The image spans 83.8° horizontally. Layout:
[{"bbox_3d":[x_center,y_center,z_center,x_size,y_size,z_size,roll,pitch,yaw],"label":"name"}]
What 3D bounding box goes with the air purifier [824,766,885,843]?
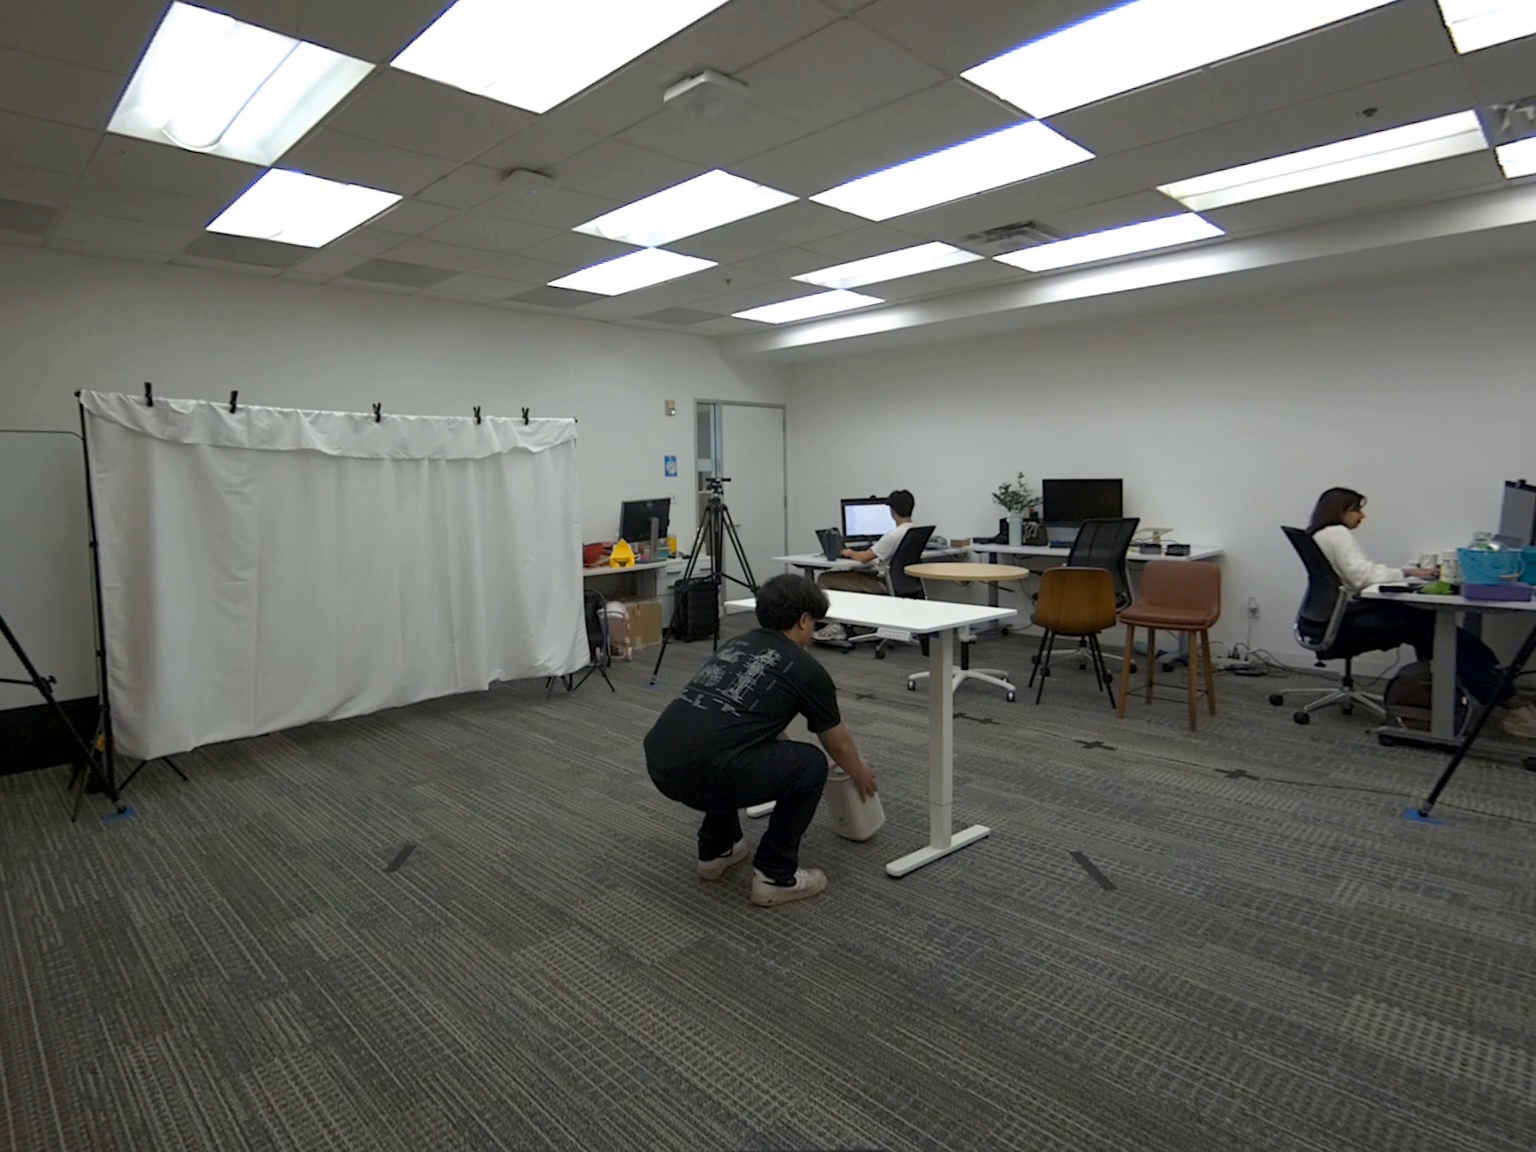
[{"bbox_3d":[0.328,0.867,3.314,0.169,0.263,0.175,-23,10,-38],"label":"air purifier"}]
